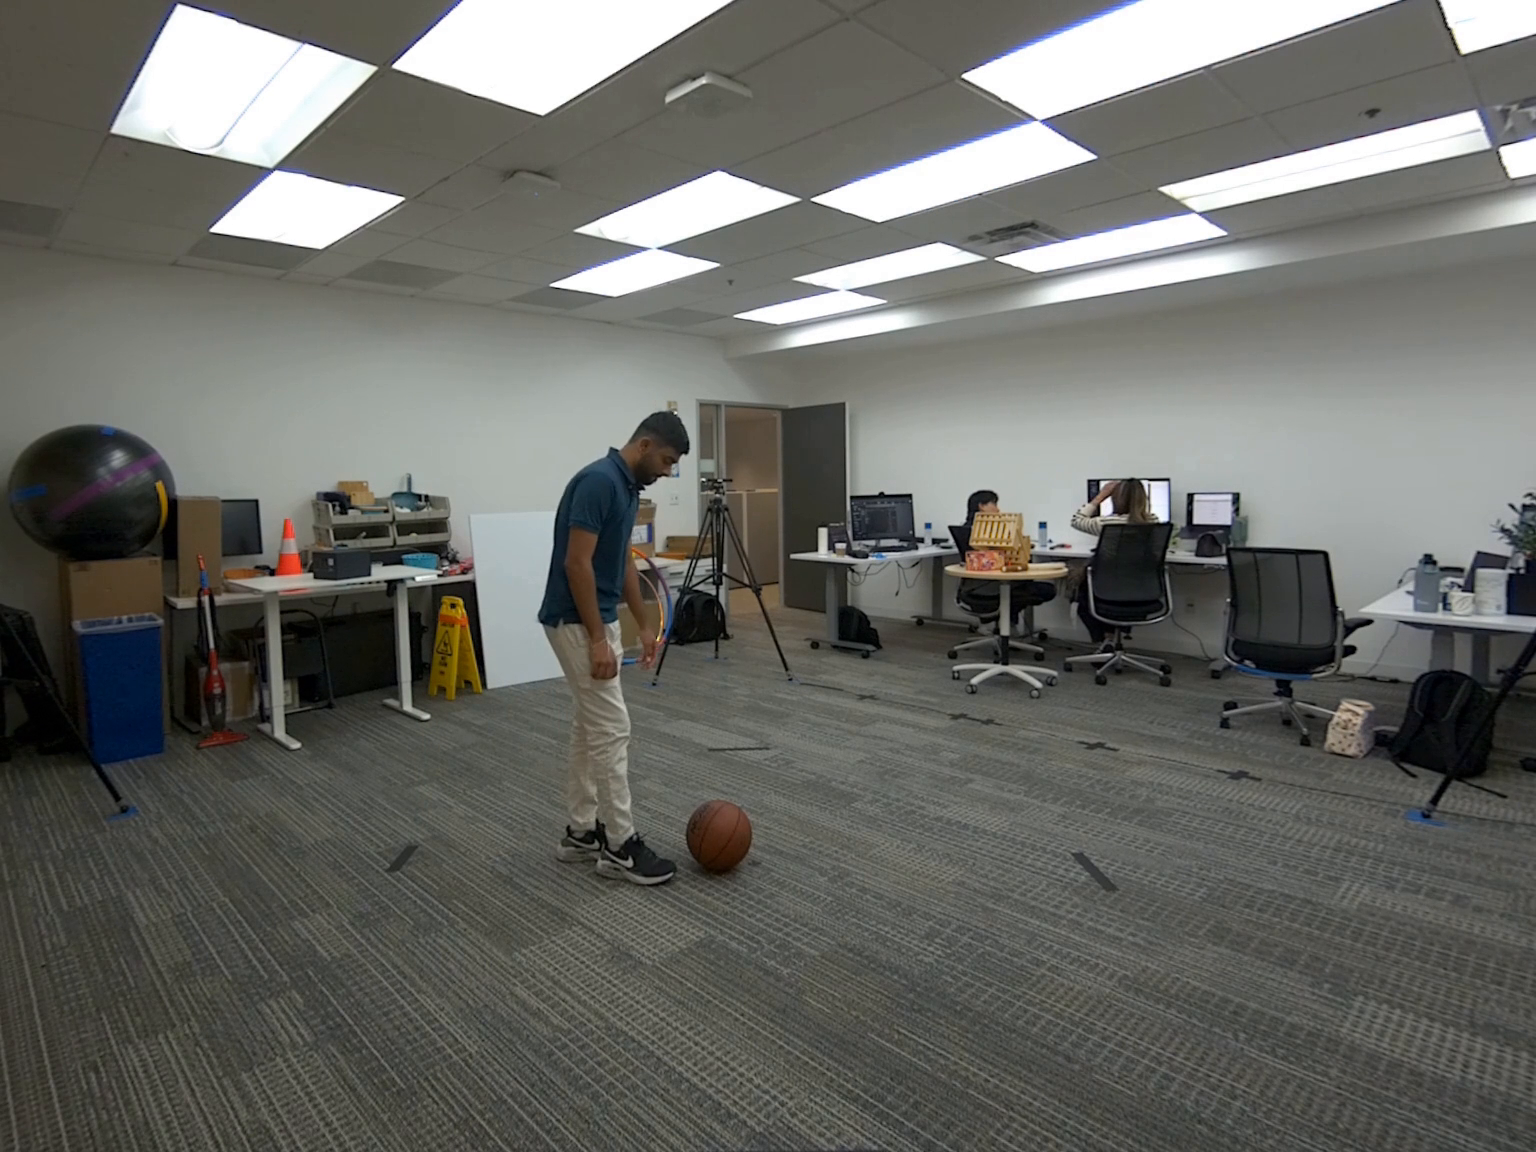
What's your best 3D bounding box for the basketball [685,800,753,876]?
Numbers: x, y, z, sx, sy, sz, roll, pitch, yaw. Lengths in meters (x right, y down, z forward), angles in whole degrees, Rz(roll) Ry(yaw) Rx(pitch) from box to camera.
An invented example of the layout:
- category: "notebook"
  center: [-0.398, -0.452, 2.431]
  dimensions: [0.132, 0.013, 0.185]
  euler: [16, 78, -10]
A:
- category: "basketball"
  center: [-0.175, 0.925, 3.068]
  dimensions: [0.236, 0.235, 0.237]
  euler: [-1, 5, -2]
